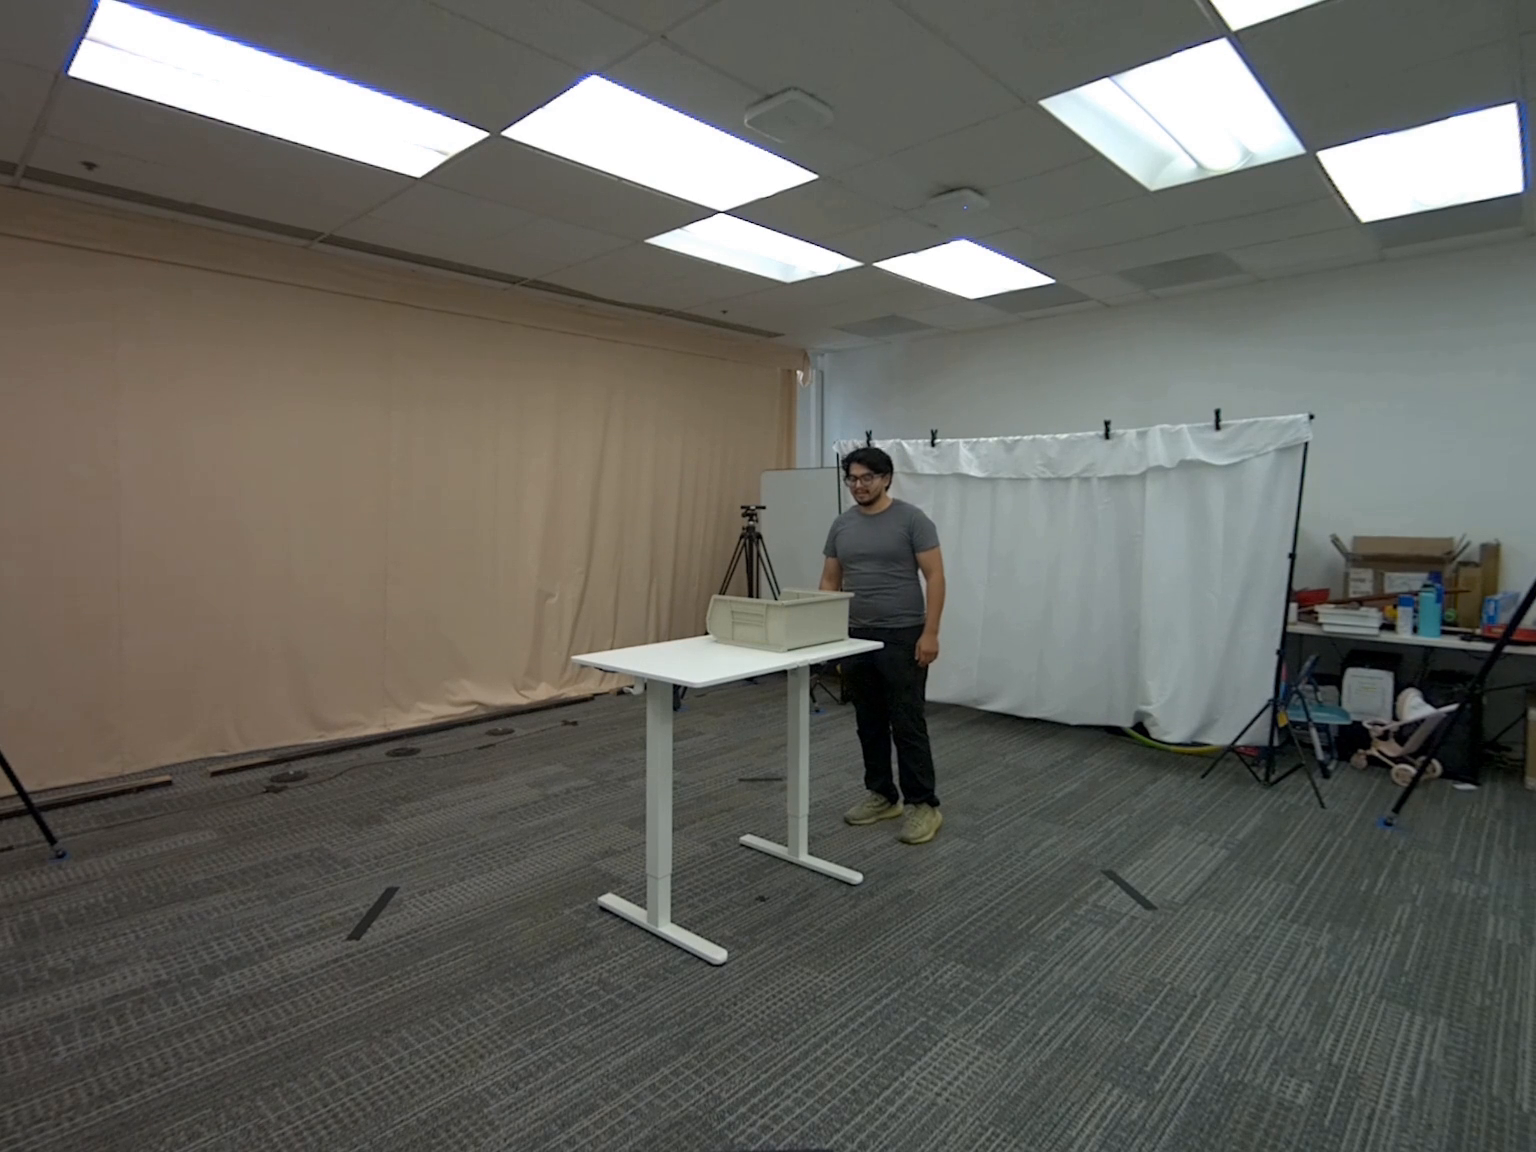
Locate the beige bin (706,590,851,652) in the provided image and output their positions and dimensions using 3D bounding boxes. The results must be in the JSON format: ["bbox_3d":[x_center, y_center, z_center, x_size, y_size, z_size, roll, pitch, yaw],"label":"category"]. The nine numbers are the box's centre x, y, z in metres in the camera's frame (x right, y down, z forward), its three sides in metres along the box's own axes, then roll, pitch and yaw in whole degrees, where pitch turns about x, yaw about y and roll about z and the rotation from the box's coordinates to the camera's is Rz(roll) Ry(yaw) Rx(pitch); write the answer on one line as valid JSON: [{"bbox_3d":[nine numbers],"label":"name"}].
[{"bbox_3d":[0.044,0.157,3.177,0.390,0.188,0.409,5,6,42],"label":"beige bin"}]
